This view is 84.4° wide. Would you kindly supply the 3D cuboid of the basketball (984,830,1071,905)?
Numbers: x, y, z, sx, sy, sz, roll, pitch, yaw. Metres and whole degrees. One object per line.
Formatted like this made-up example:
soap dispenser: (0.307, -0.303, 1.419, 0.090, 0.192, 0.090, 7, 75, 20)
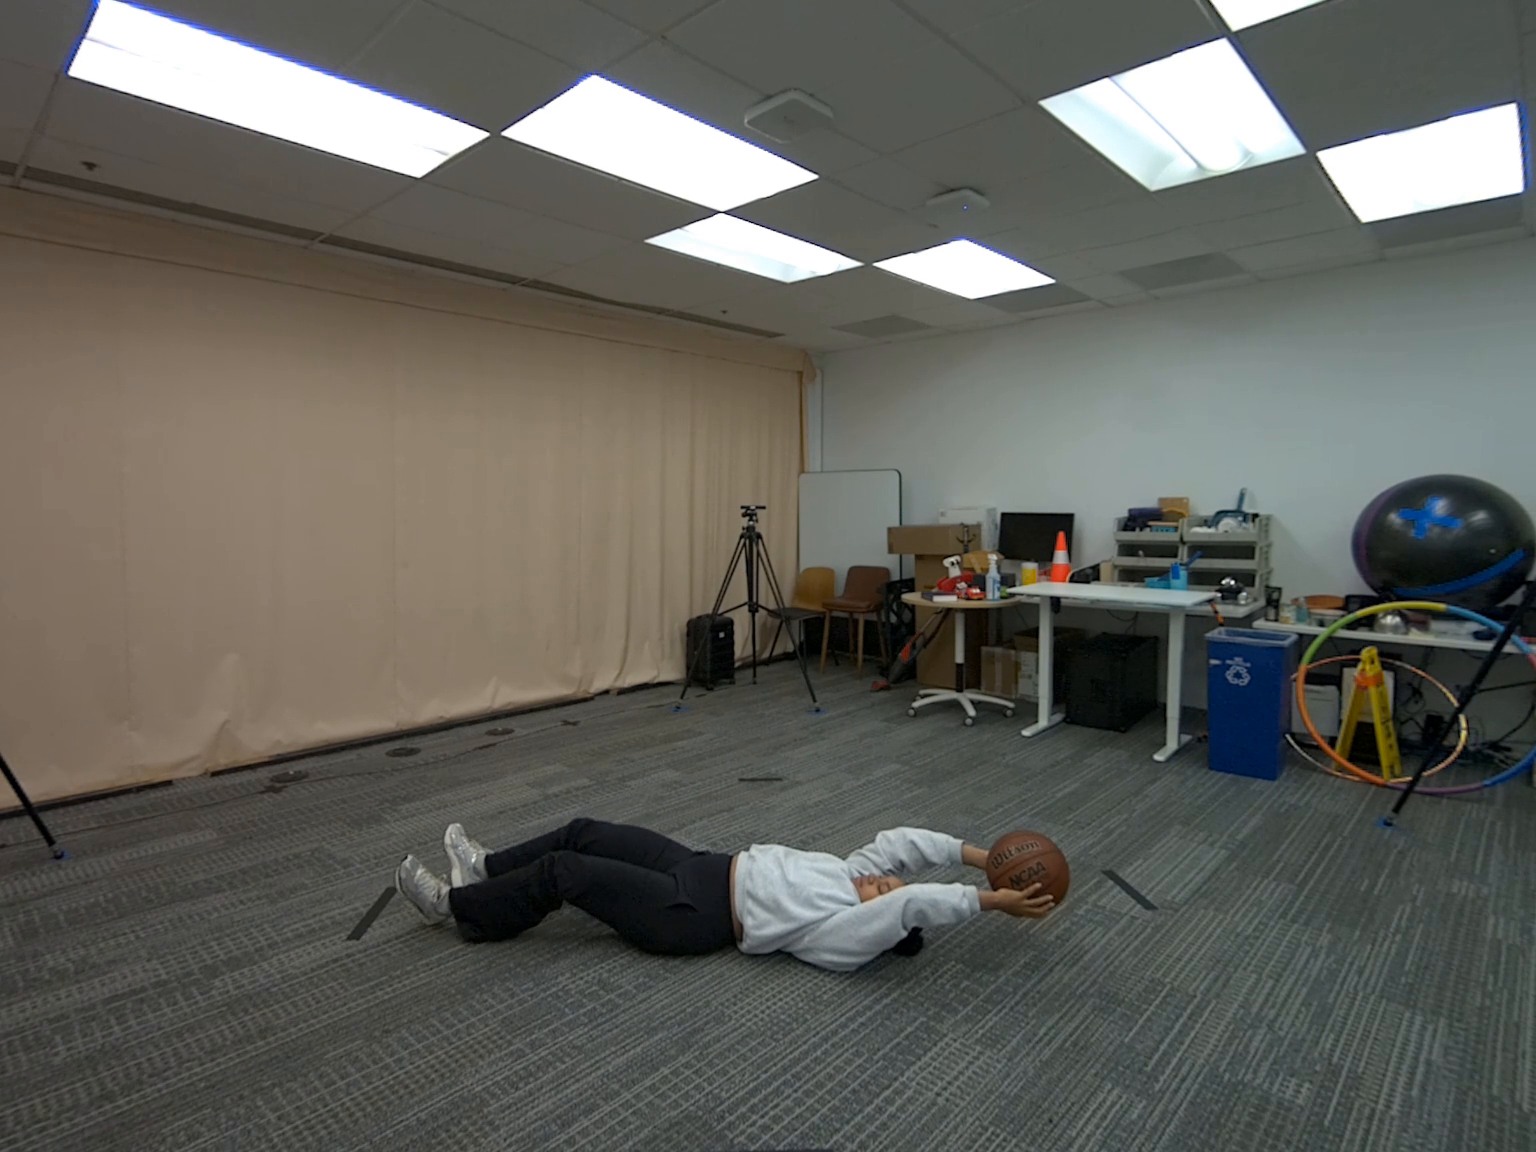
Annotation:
basketball: (0.792, 0.893, 2.546, 0.235, 0.235, 0.237, 1, 4, -2)
